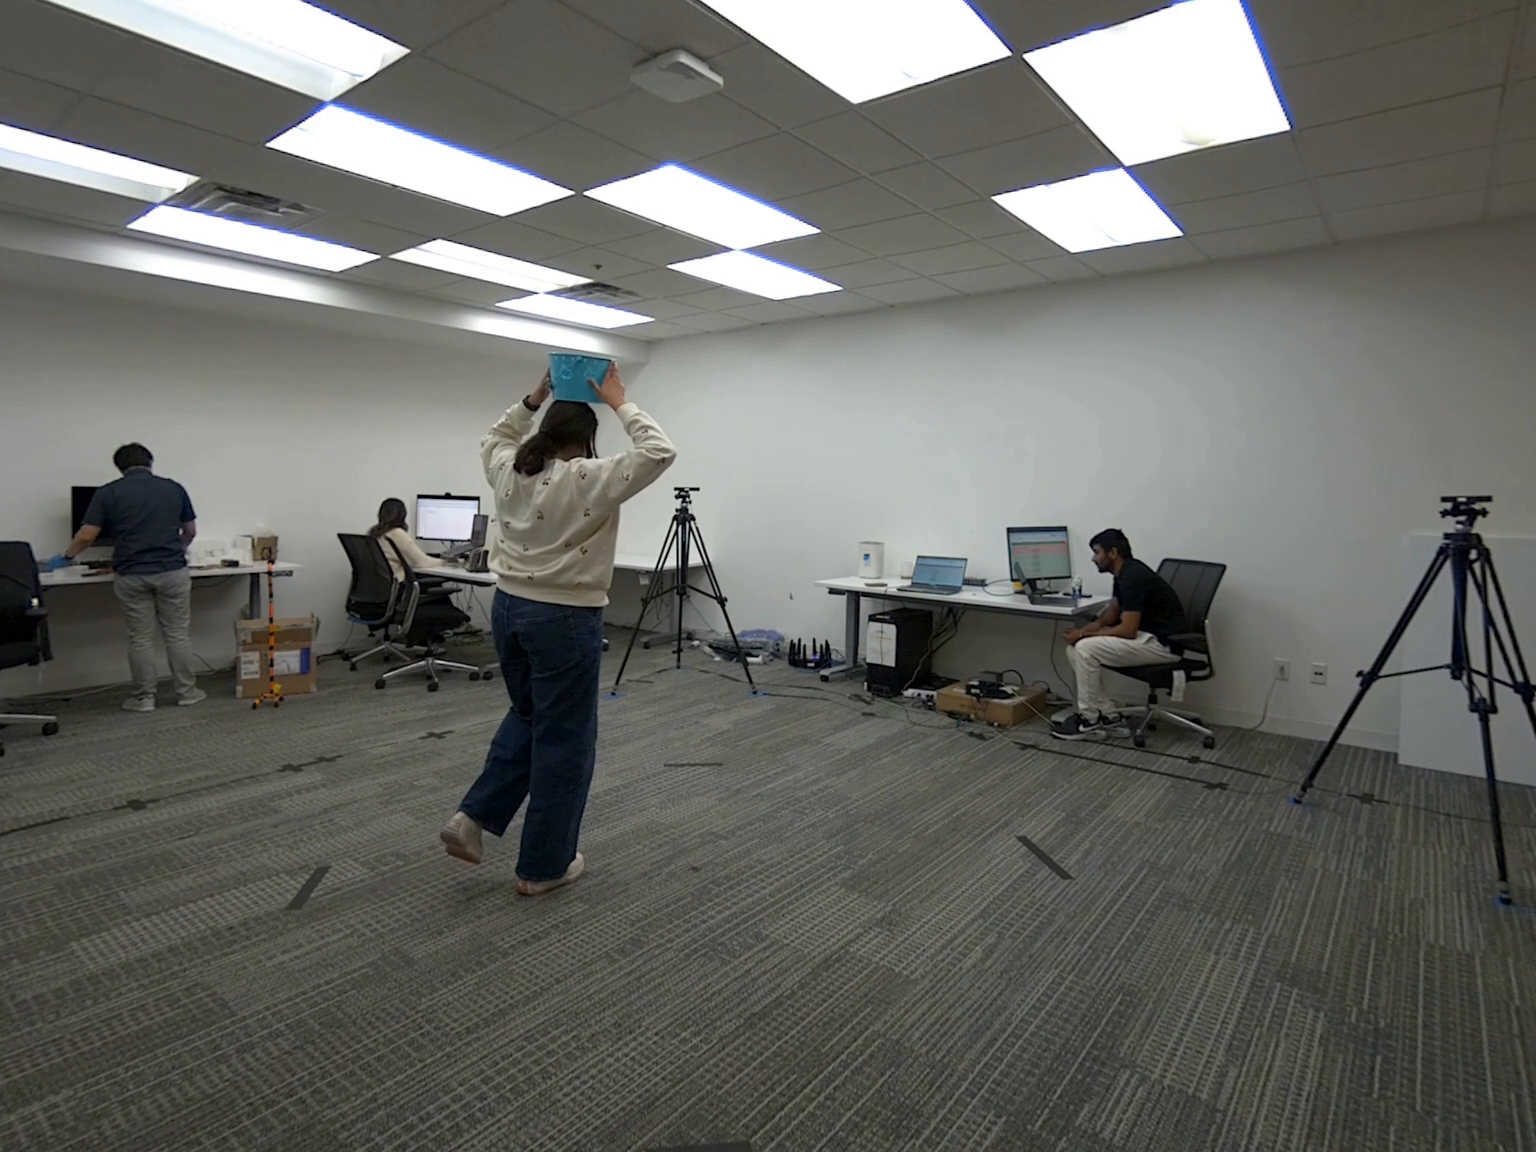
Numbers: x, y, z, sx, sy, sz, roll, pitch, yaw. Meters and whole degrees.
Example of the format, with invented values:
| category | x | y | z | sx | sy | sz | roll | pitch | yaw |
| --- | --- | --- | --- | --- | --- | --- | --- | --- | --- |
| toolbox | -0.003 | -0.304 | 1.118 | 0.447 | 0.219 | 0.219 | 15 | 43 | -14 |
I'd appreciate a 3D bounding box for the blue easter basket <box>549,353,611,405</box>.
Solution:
| category | x | y | z | sx | sy | sz | roll | pitch | yaw |
| --- | --- | --- | --- | --- | --- | --- | --- | --- | --- |
| blue easter basket | -0.659 | -0.673 | 2.908 | 0.243 | 0.154 | 0.246 | 5 | 10 | -3 |
